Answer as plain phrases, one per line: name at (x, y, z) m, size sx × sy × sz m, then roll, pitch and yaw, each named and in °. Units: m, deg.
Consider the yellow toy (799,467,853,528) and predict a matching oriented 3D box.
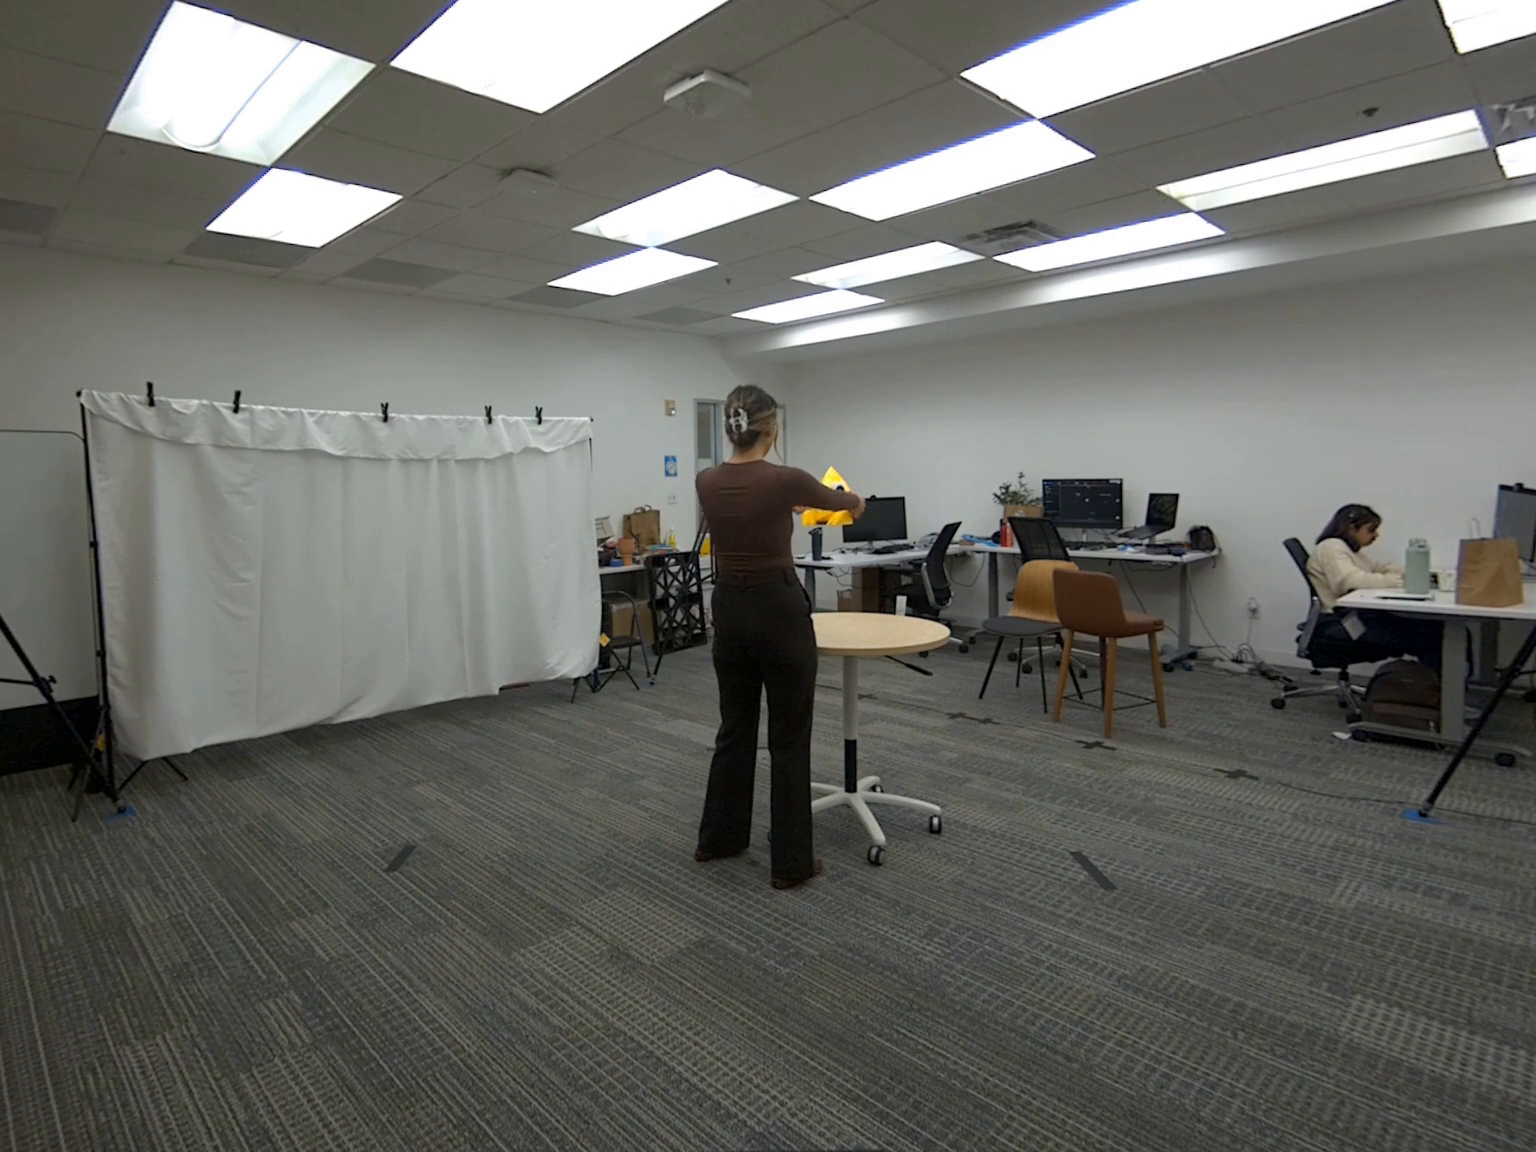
yellow toy at (0.234, -0.325, 3.425) m, size 0.210 × 0.230 × 0.189 m, roll 1°, pitch 5°, yaw 27°
